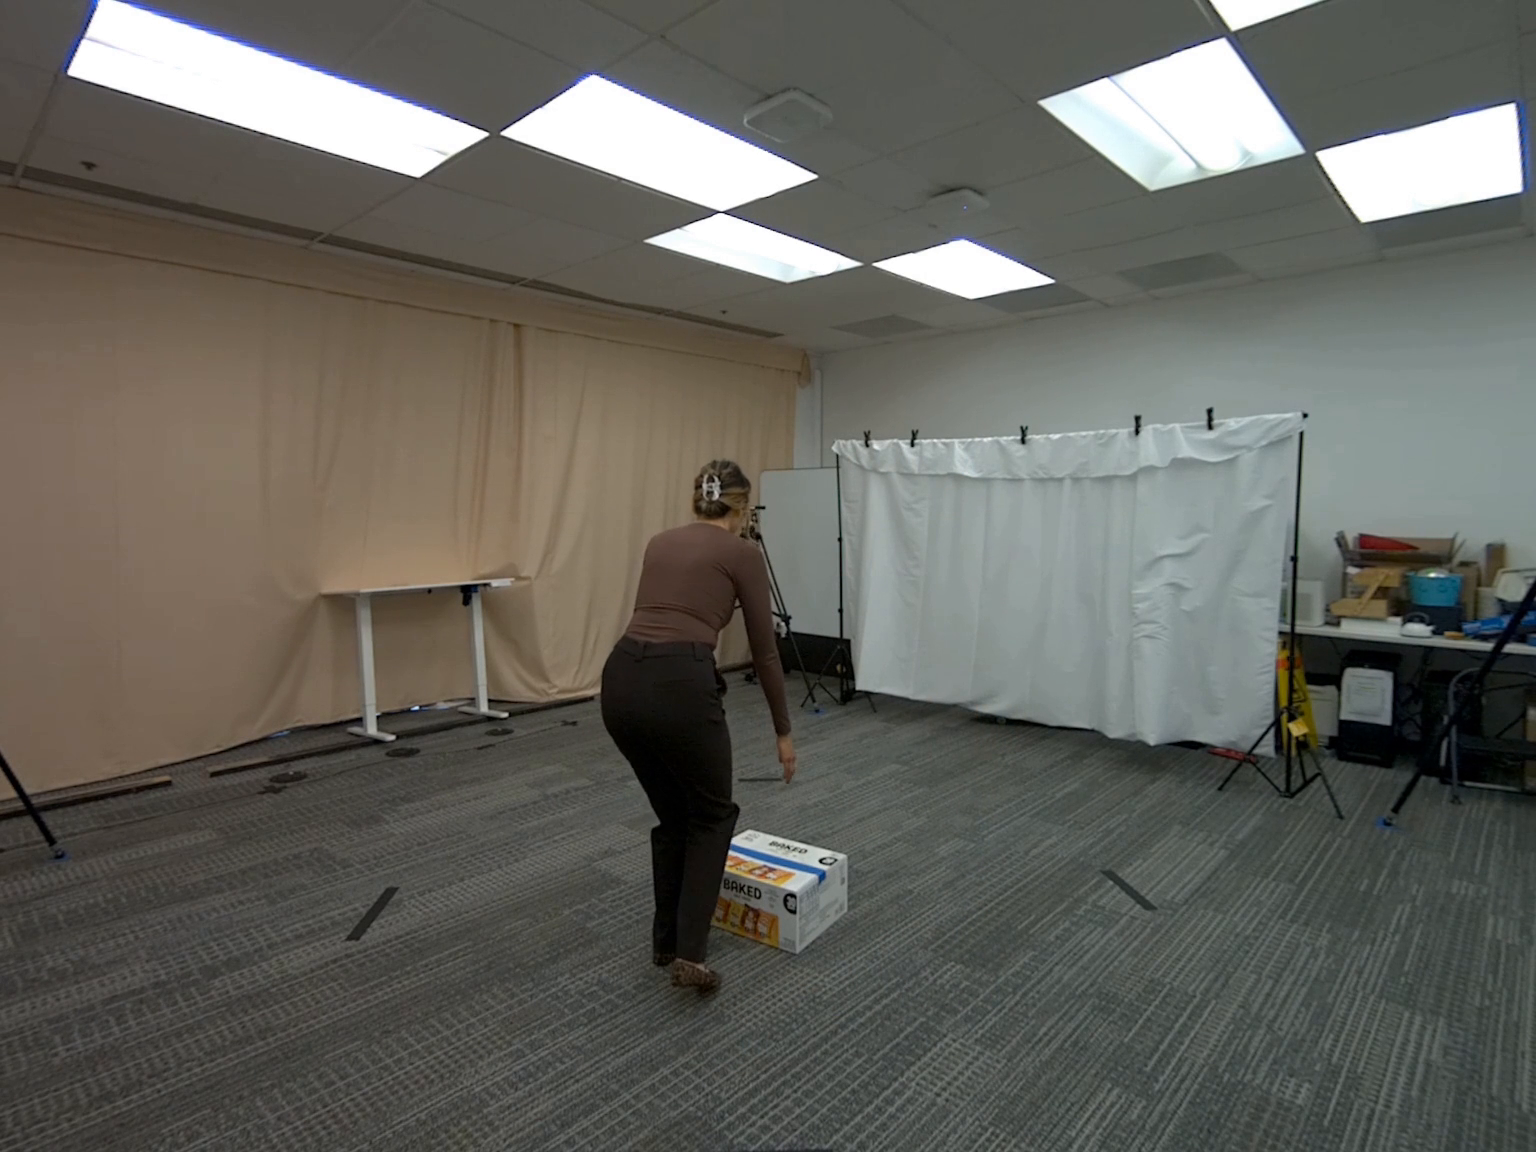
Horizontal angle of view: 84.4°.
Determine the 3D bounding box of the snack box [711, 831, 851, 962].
[{"bbox_3d":[0.014,1.054,2.845,0.418,0.205,0.331,3,5,34],"label":"snack box"}]
